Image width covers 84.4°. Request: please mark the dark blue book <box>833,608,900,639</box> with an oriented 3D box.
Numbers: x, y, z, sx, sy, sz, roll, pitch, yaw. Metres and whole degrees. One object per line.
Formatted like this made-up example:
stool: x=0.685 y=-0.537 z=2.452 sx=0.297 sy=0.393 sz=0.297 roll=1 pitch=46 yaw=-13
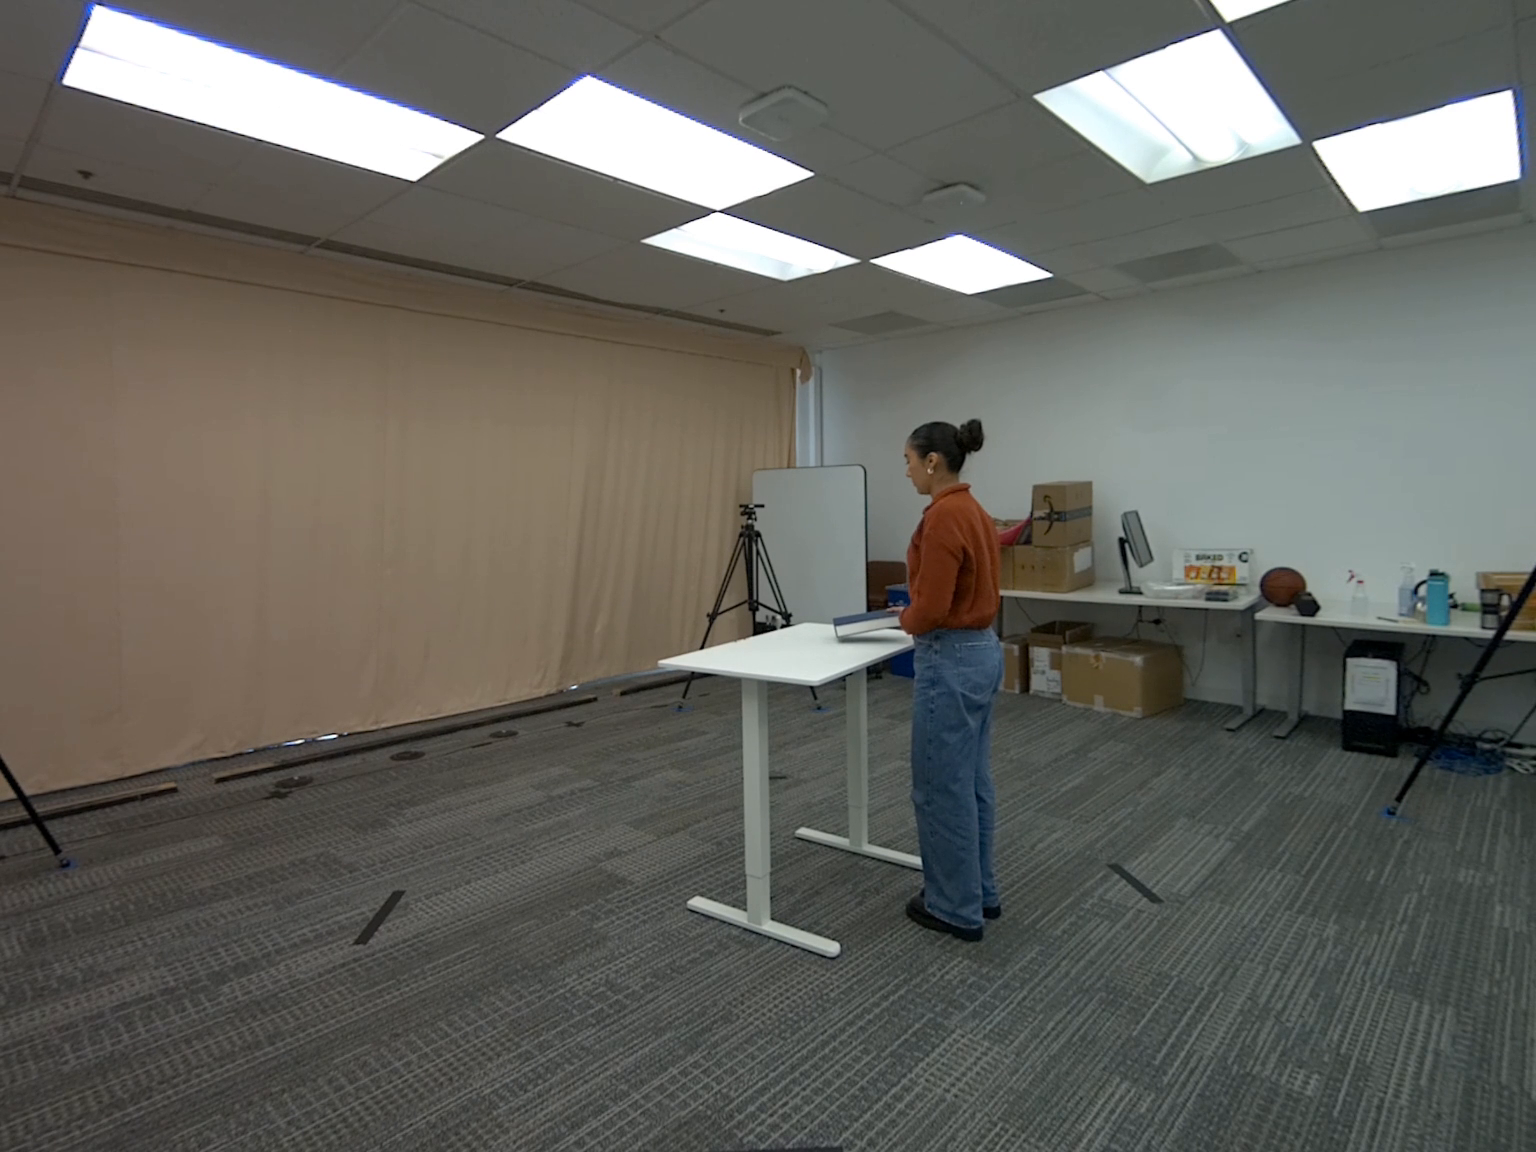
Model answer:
dark blue book: x=0.371 y=0.170 z=3.135 sx=0.246 sy=0.045 sz=0.163 roll=-10 pitch=7 yaw=4
